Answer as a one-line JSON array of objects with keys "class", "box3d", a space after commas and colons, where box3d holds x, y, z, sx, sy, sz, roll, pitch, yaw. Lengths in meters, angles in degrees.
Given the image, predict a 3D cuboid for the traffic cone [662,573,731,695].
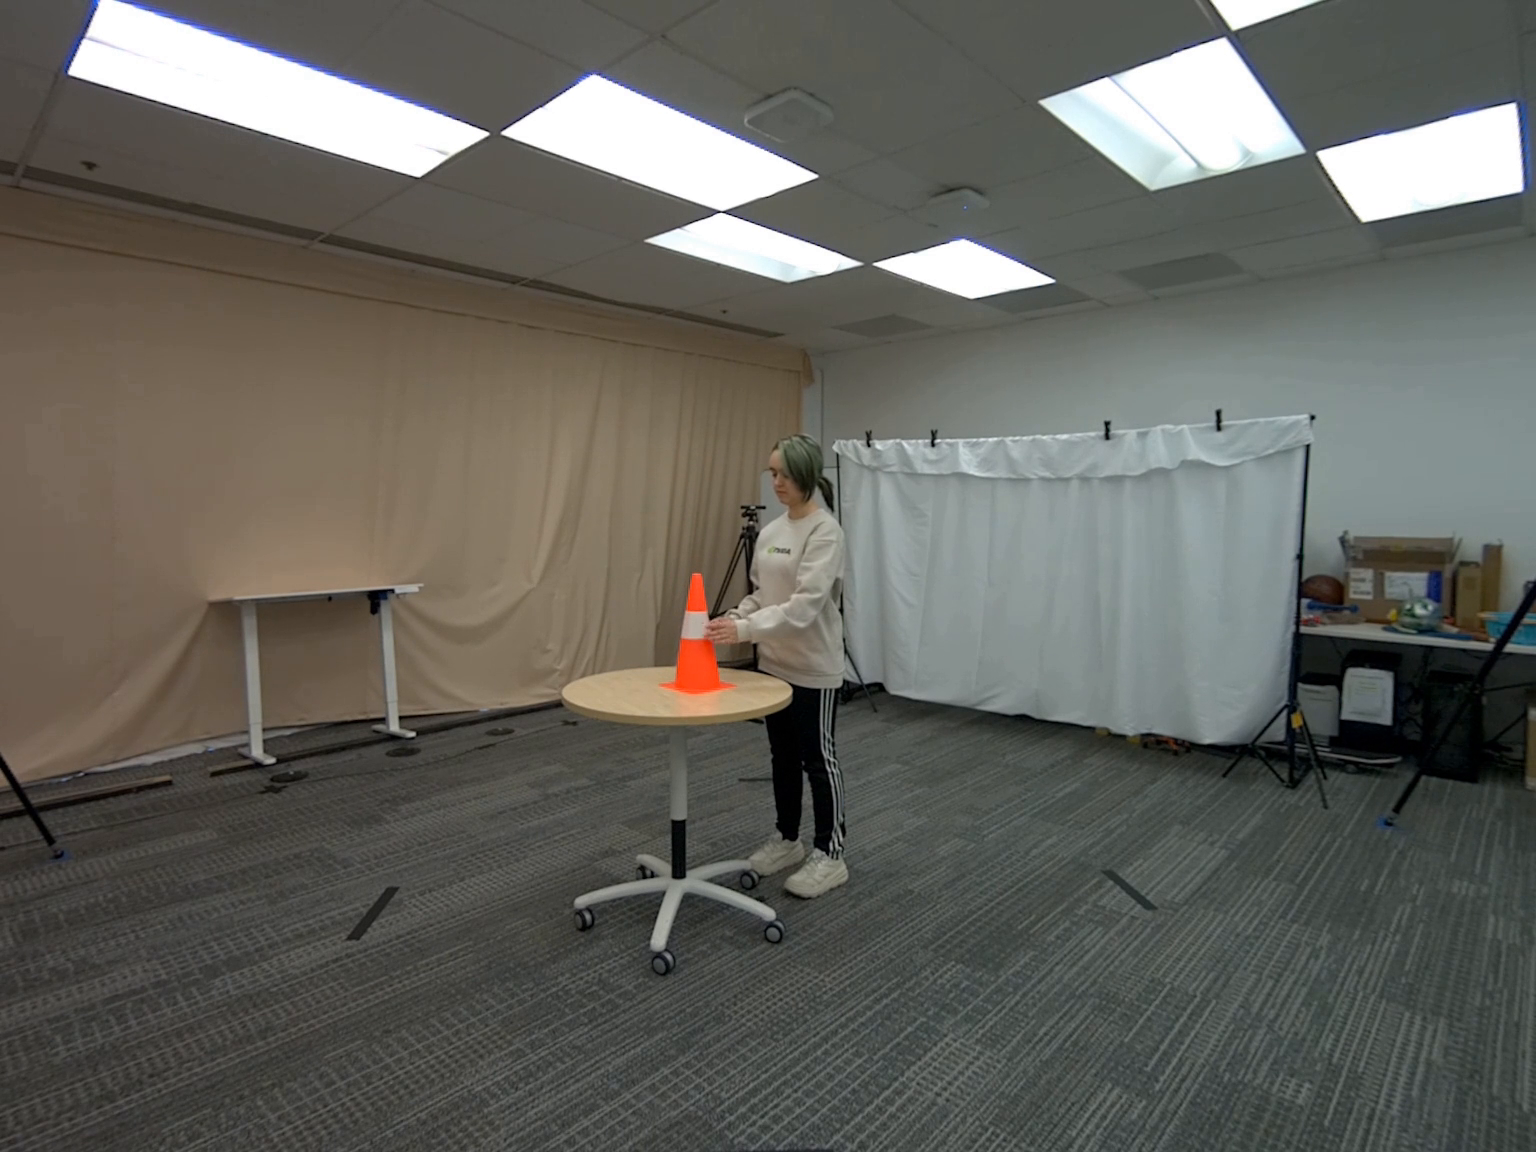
[{"class": "traffic cone", "box3d": [-0.238, 0.187, 2.848, 0.212, 0.383, 0.197, 3, 3, 39]}]
